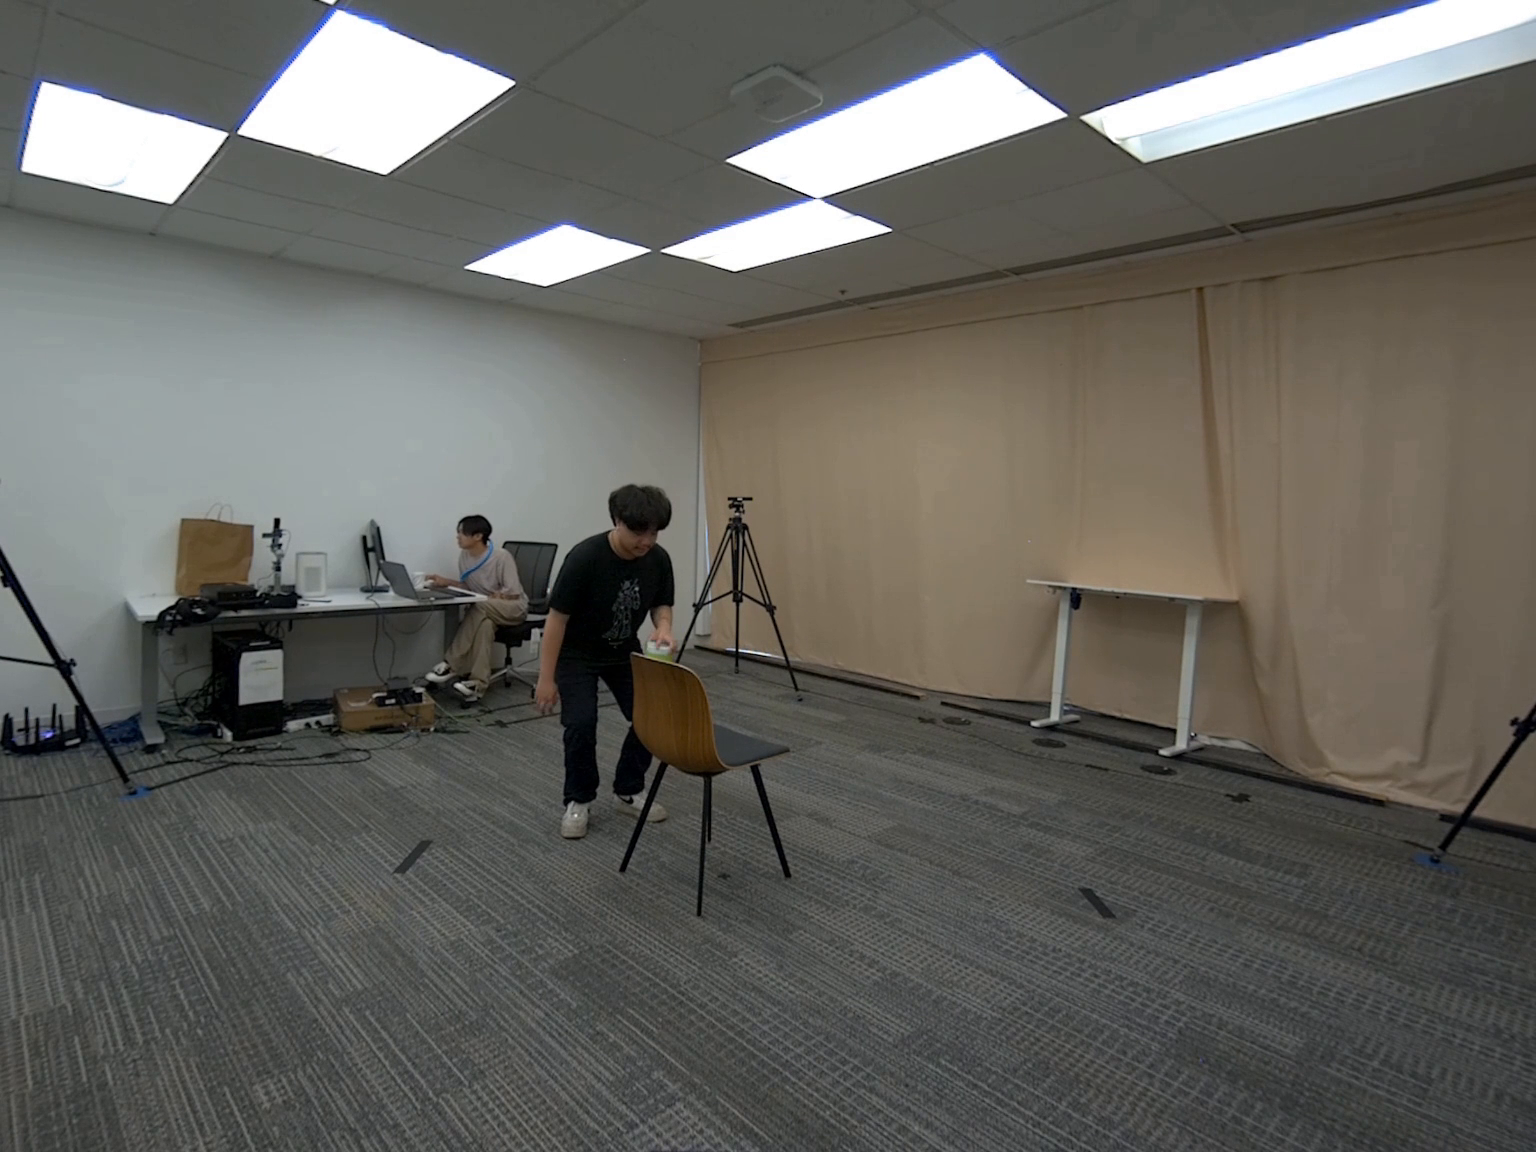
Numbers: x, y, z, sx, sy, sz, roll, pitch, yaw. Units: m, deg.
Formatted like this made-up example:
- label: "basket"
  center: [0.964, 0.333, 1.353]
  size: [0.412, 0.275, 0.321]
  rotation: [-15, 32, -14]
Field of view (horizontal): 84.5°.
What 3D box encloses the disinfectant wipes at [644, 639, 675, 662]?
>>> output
- label: "disinfectant wipes"
  center: [-0.454, 0.384, 3.413]
  size: [0.117, 0.216, 0.118]
  rotation: [5, 7, -2]
